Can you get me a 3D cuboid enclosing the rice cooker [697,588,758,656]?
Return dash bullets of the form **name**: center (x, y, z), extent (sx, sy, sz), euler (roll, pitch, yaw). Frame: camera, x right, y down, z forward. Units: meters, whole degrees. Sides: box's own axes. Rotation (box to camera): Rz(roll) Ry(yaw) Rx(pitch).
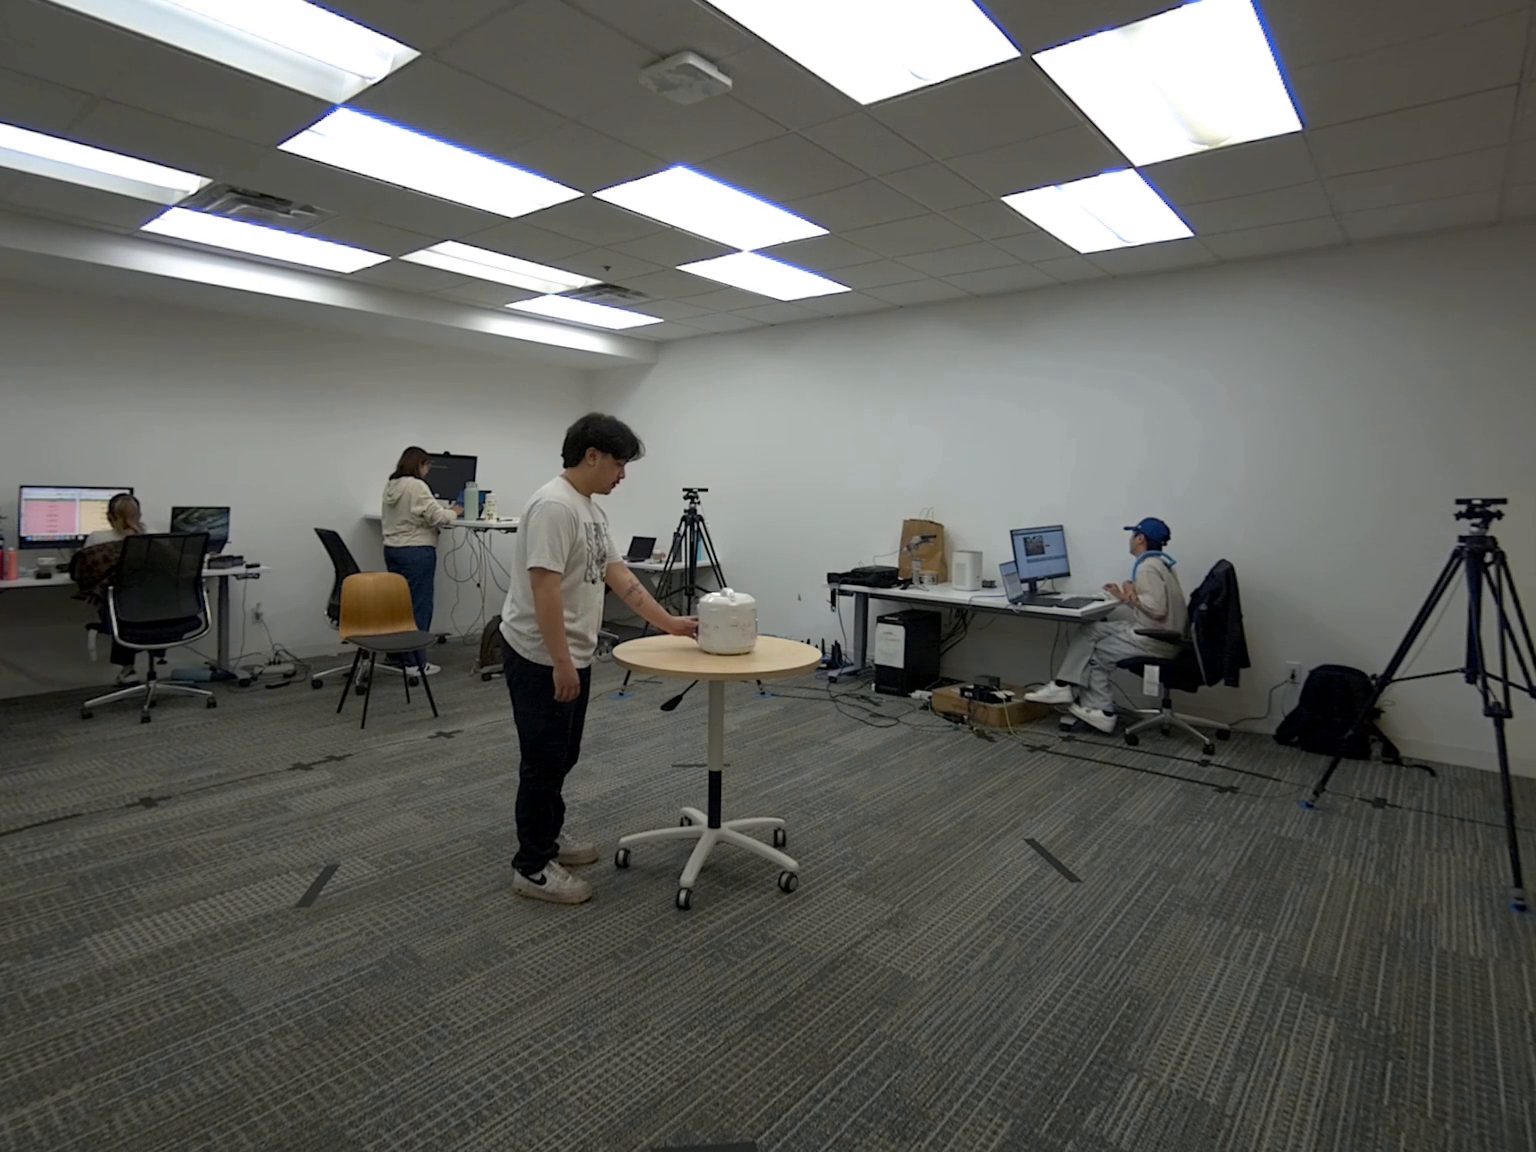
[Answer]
- **rice cooker**: center (-0.156, 0.157, 3.107), extent (0.214, 0.232, 0.224), euler (1, 4, -13)
